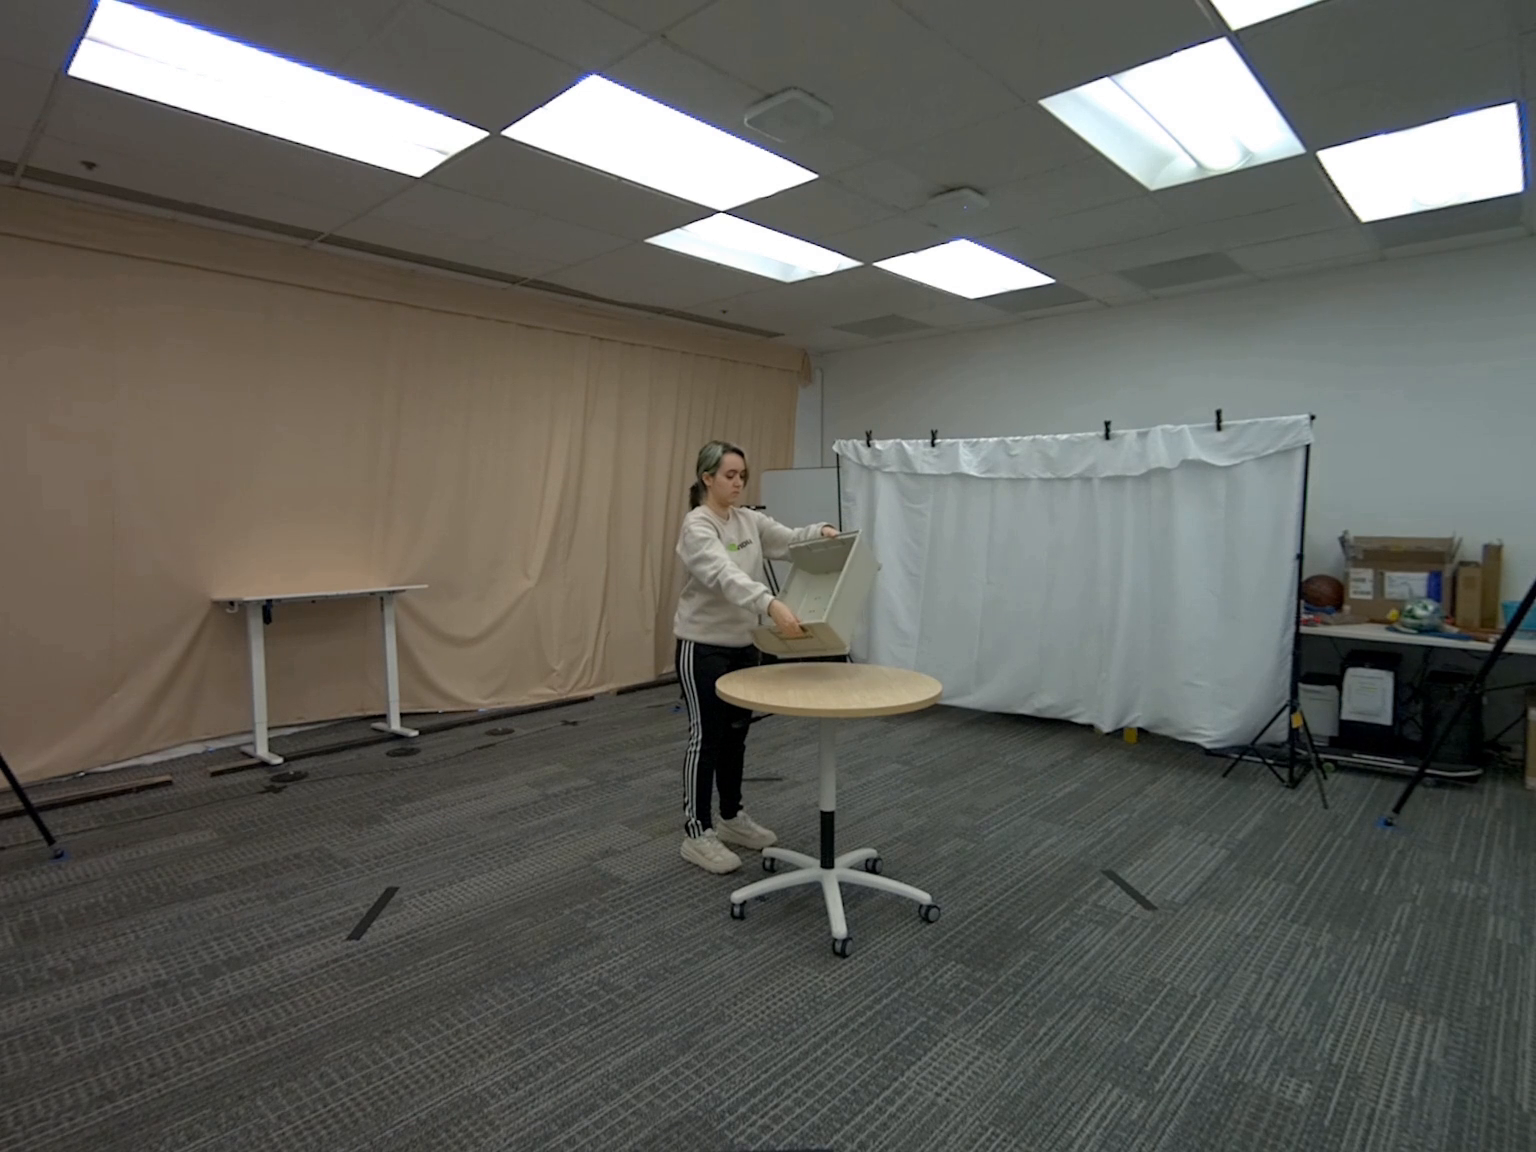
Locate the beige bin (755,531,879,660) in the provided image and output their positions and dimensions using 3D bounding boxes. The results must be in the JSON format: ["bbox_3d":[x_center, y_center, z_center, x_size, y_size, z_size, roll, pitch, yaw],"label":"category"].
[{"bbox_3d":[0.169,0.073,3.046,0.388,0.423,0.183,-9,-48,42],"label":"beige bin"}]
